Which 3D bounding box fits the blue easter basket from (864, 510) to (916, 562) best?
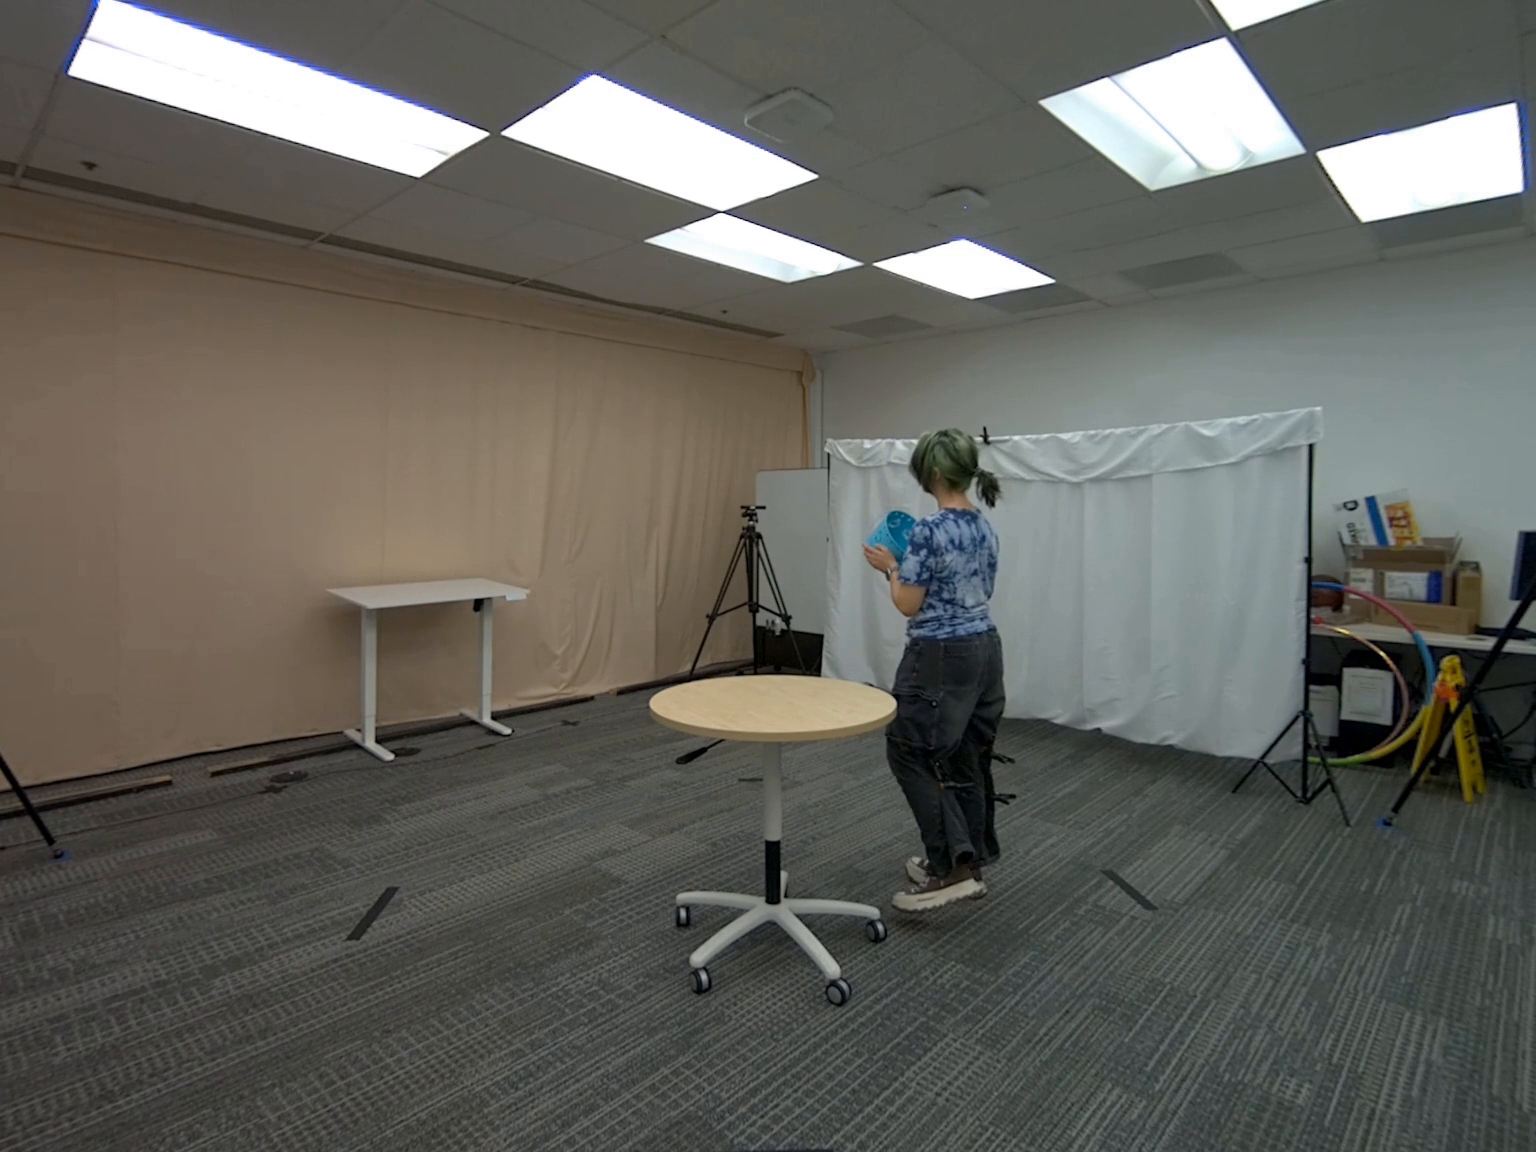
[{"bbox_3d":[0.491,-0.118,3.219,0.236,0.249,0.157,-3,-32,-41],"label":"blue easter basket"}]
